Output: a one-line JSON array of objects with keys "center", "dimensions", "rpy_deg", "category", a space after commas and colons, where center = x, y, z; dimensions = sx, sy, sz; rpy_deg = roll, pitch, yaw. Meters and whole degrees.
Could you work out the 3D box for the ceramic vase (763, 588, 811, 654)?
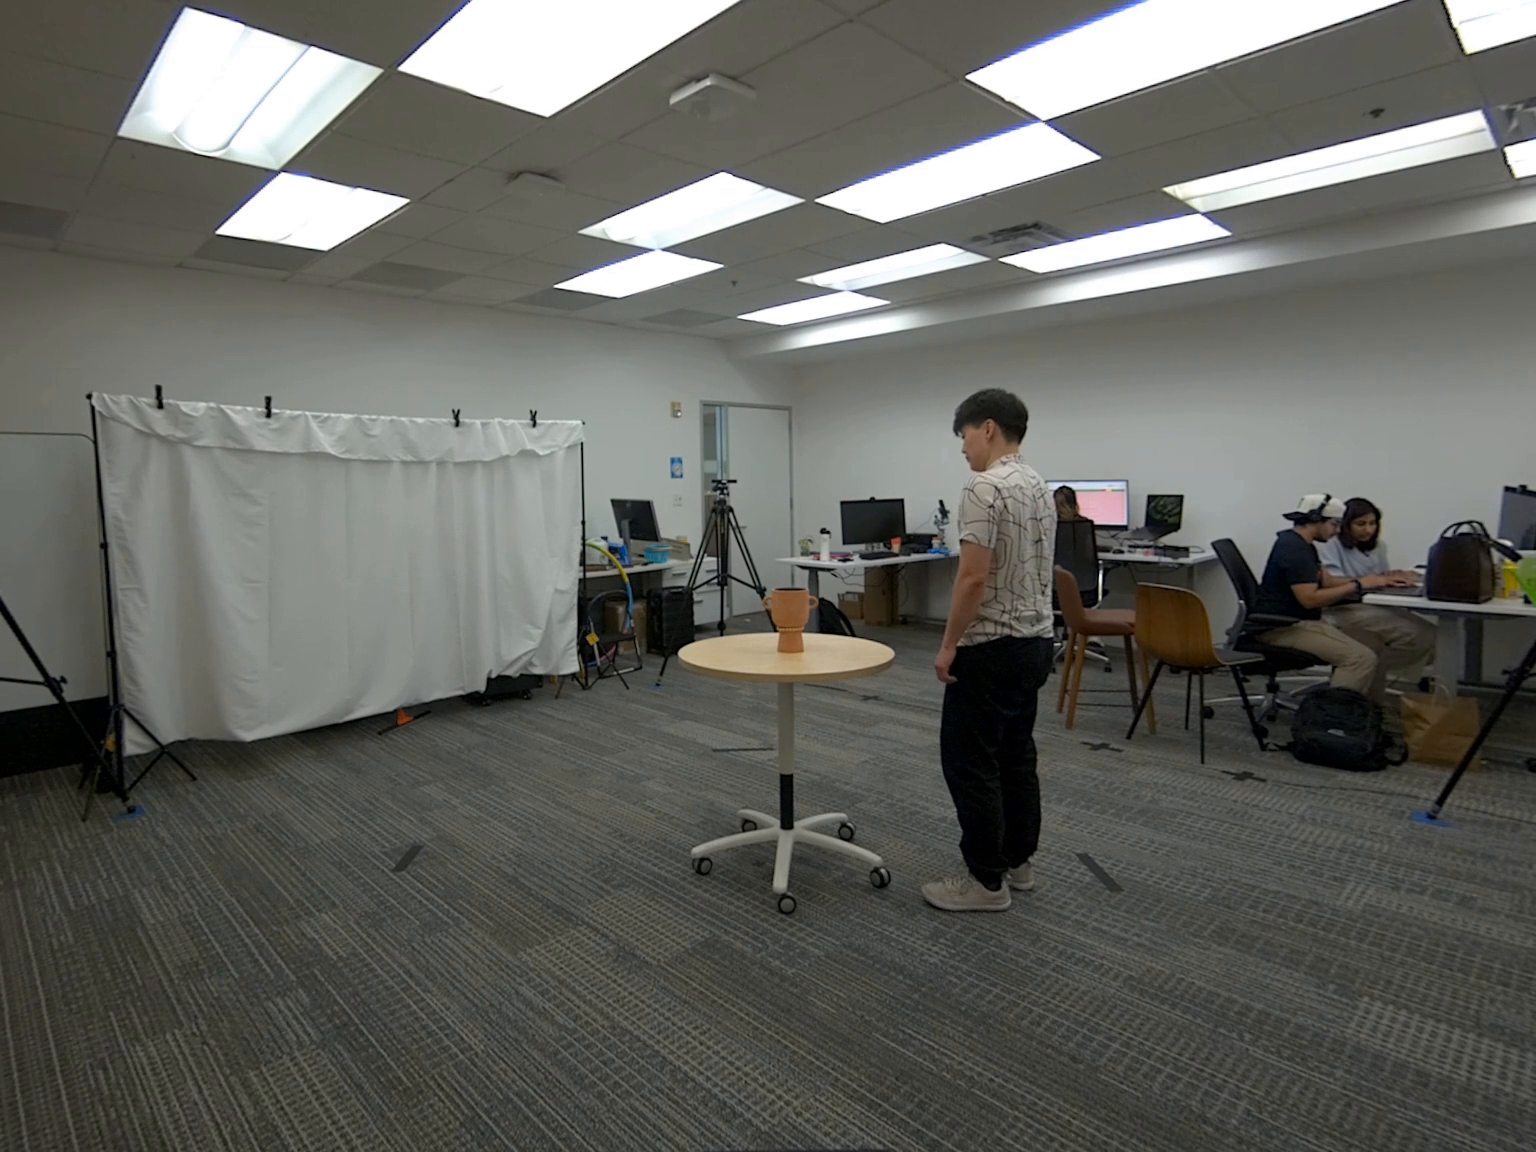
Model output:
[{"center": [0.084, 0.160, 3.056], "dimensions": [0.164, 0.219, 0.131], "rpy_deg": [3, 4, 43], "category": "ceramic vase"}]
